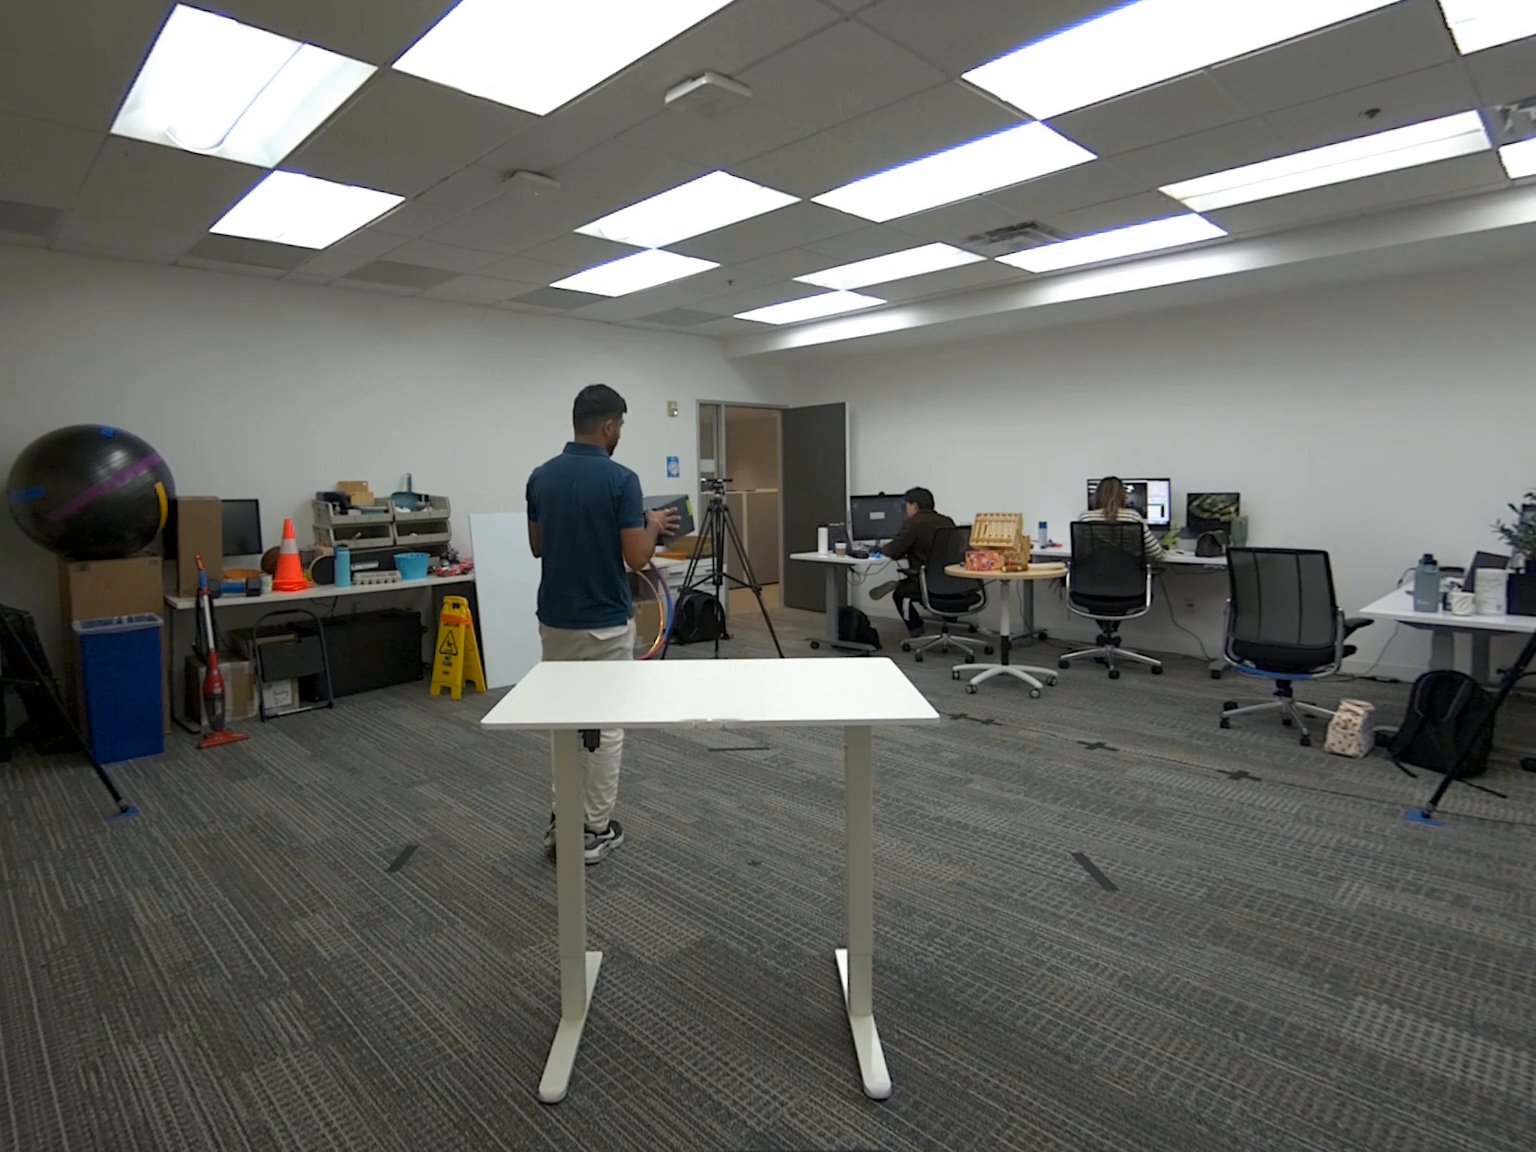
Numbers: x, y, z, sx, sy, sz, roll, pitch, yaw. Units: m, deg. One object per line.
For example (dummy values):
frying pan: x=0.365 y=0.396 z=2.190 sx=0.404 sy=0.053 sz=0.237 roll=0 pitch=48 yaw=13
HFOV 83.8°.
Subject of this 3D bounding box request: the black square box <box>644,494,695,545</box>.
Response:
black square box: x=-0.457 y=-0.227 z=3.479 sx=0.234 sy=0.153 sz=0.214 roll=1 pitch=19 yaw=36
